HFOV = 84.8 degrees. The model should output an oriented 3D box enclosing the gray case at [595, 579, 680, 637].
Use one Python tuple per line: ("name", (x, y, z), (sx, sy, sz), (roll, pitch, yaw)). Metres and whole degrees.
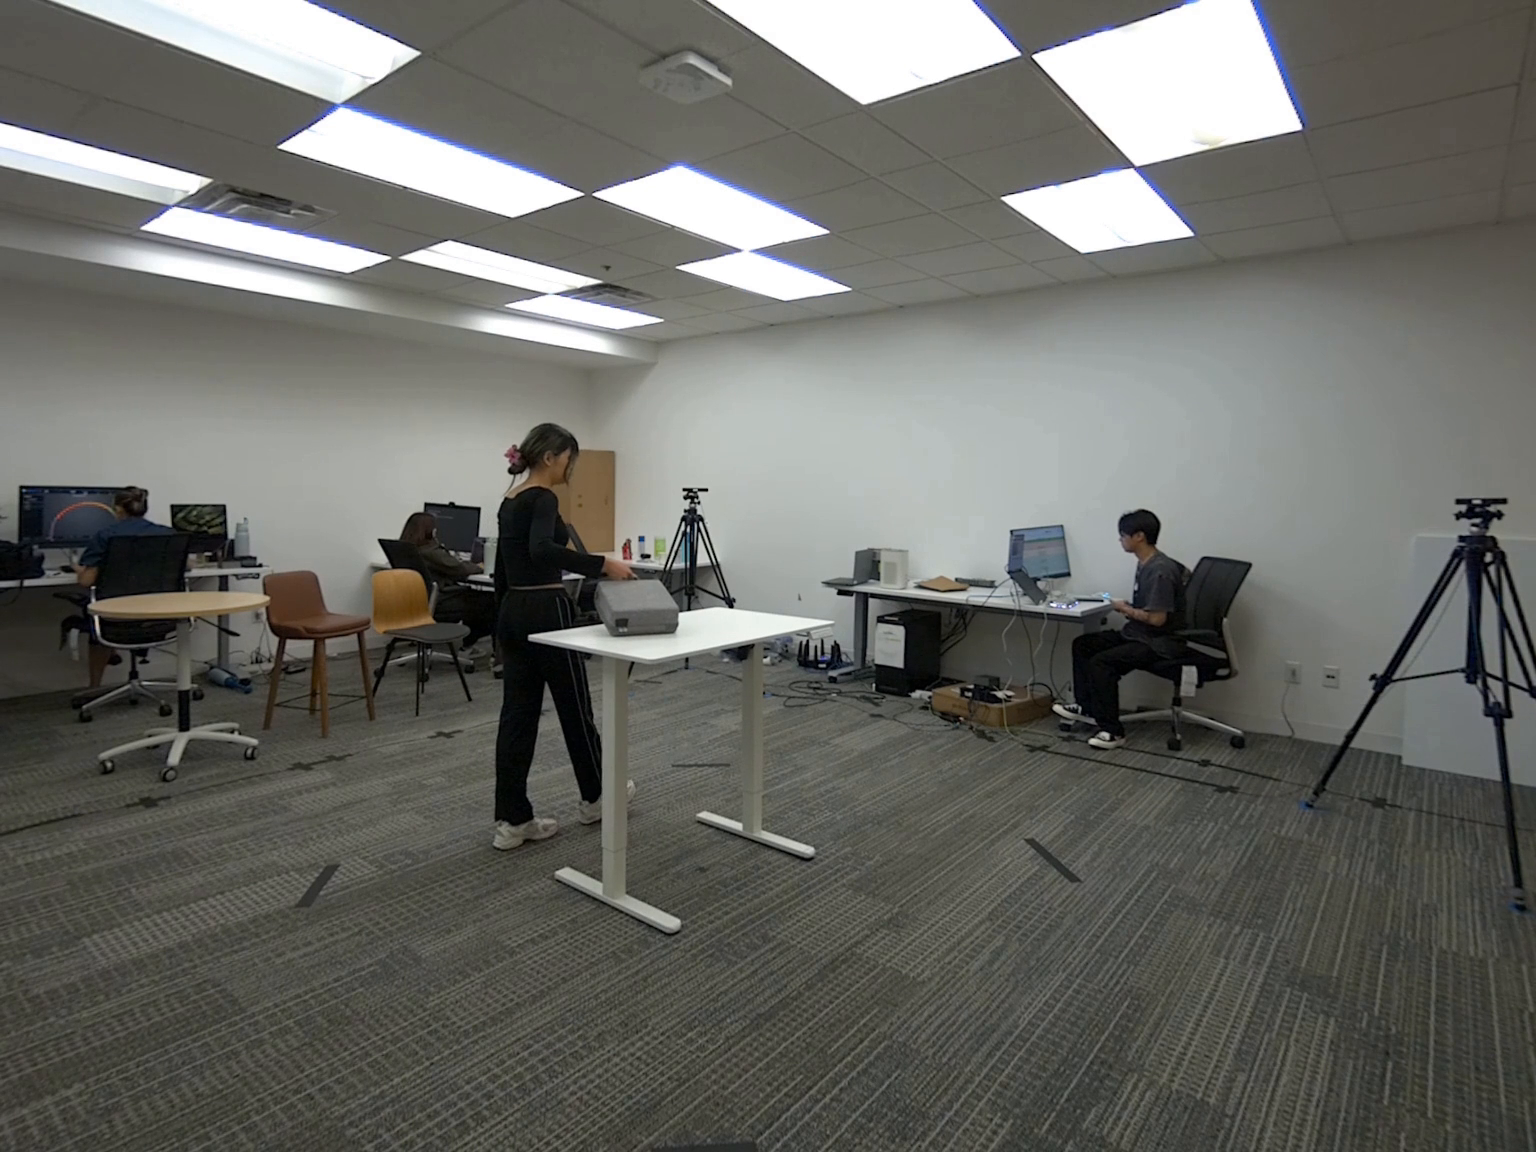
("gray case", (-0.474, 0.107, 3.020), (0.251, 0.102, 0.271), (-4, 26, -24))
